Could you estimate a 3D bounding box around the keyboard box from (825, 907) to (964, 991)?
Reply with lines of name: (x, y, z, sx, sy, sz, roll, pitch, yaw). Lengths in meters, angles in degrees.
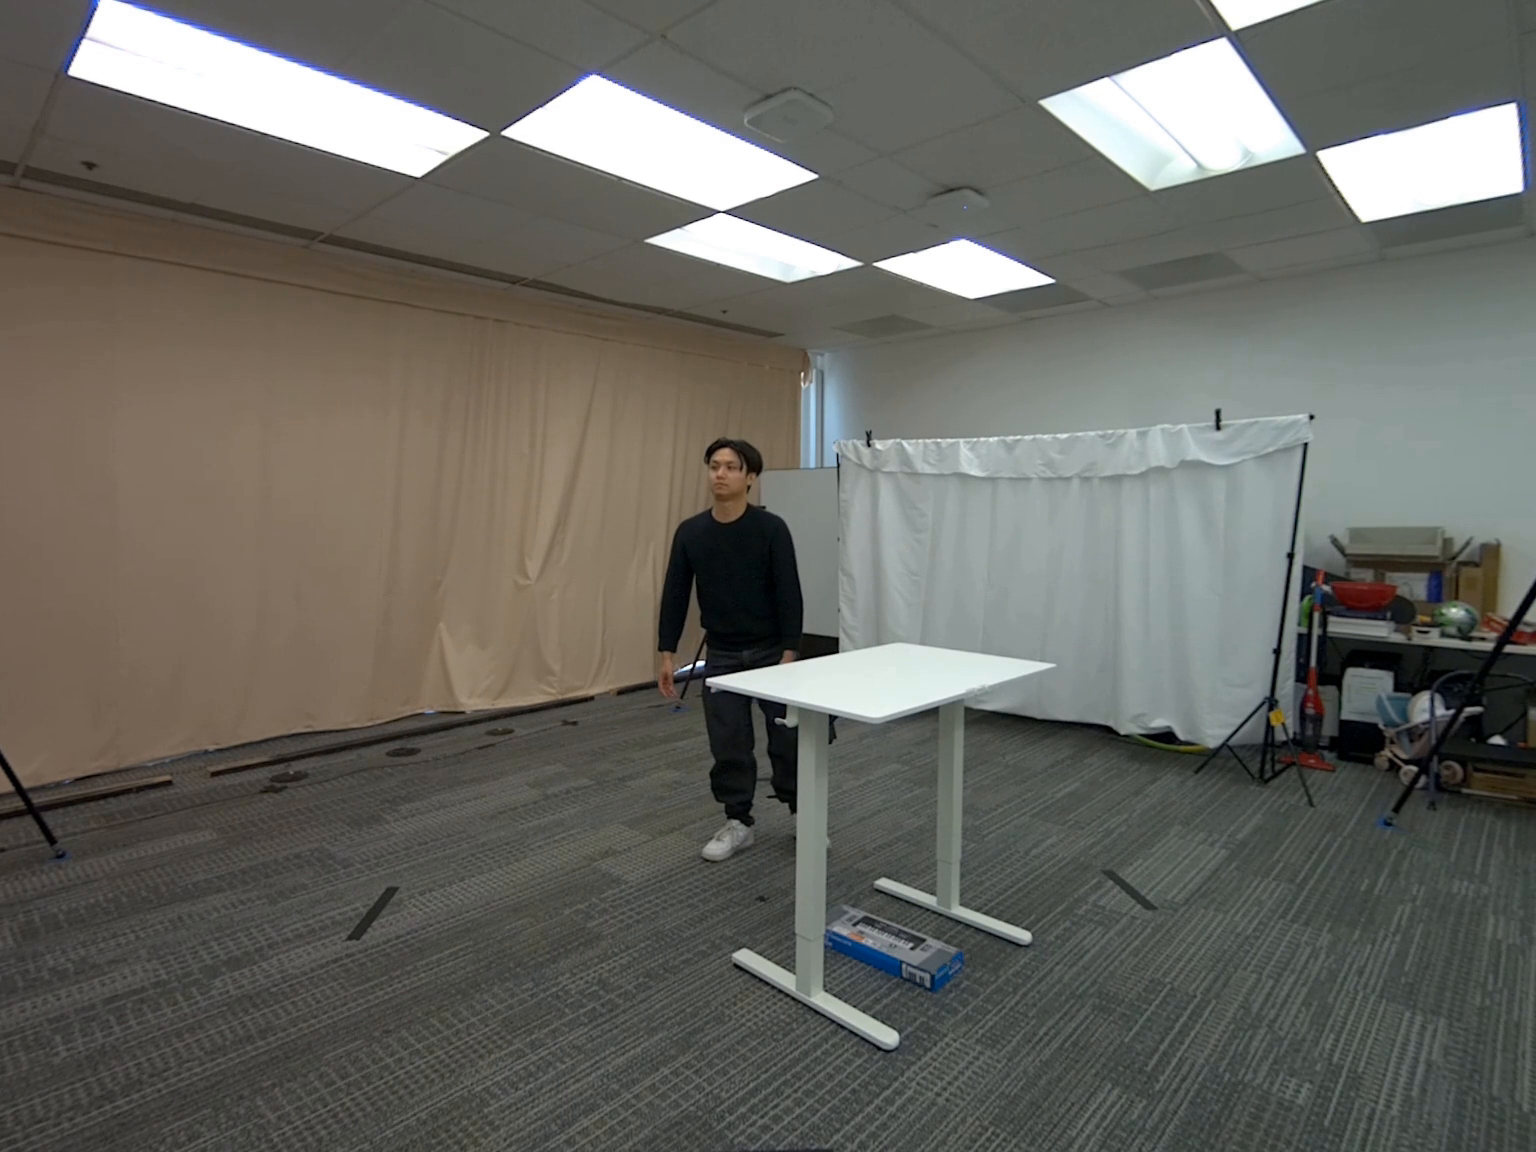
keyboard box: (0.364, 1.145, 2.610, 0.451, 0.059, 0.171, 4, 6, 42)
